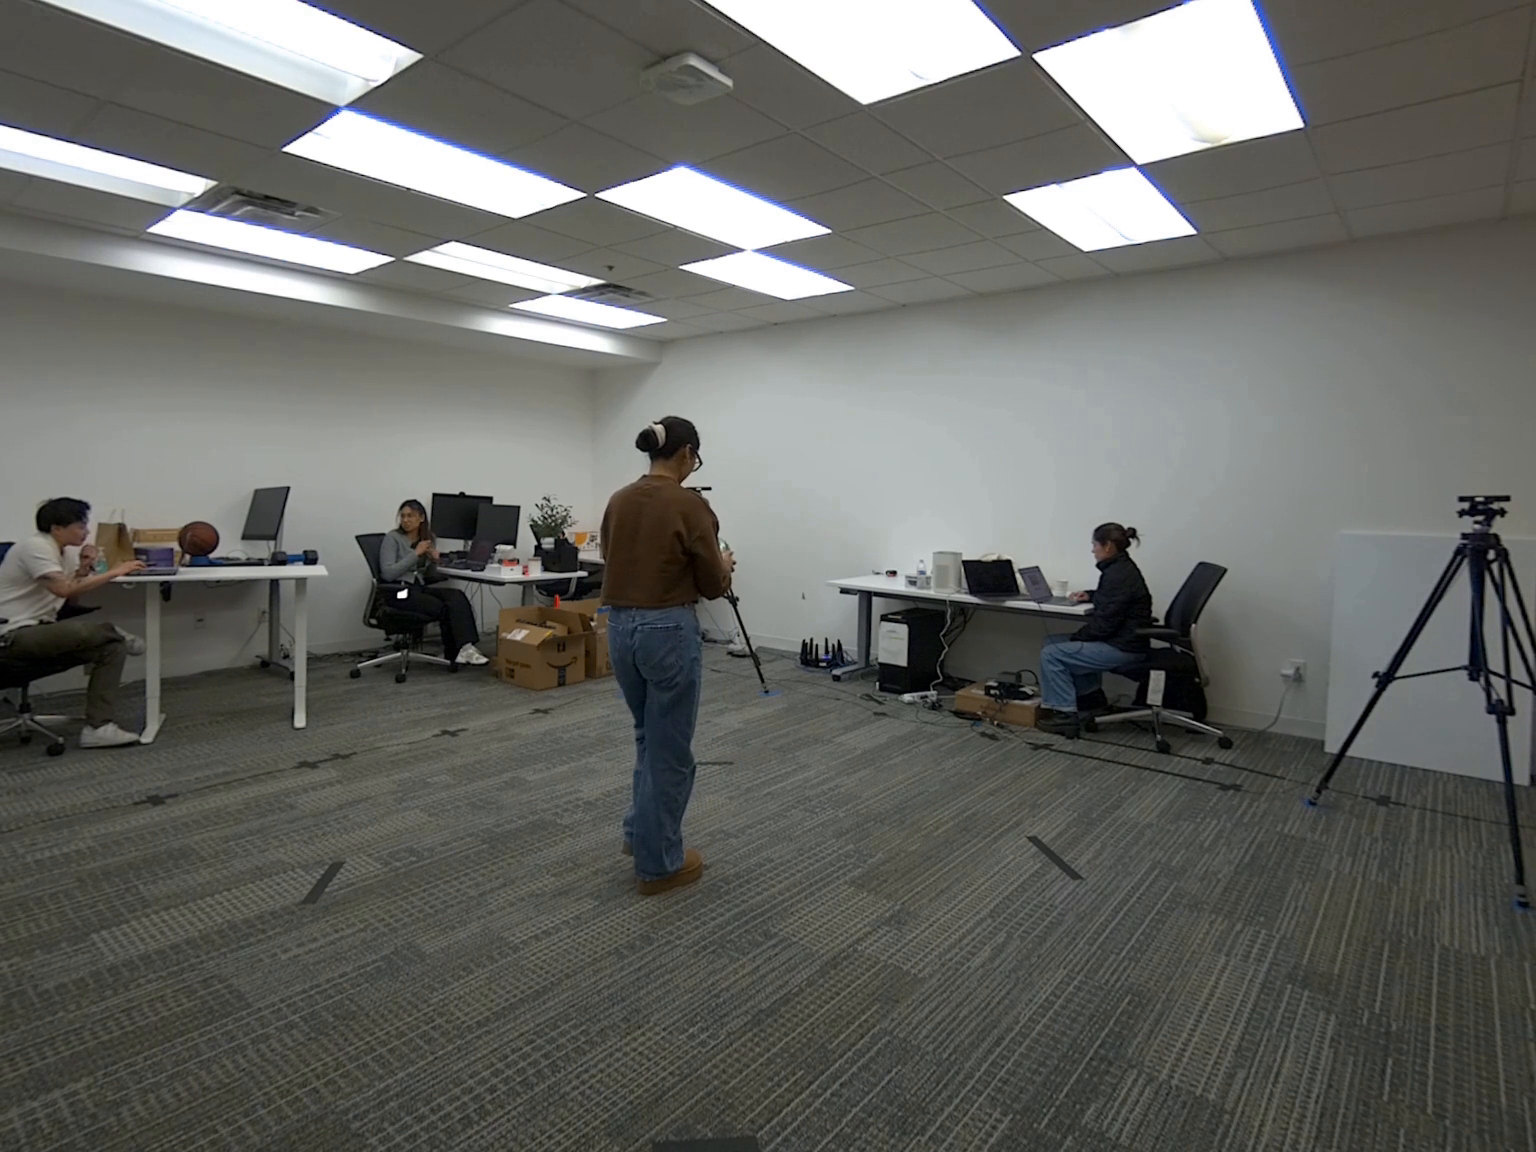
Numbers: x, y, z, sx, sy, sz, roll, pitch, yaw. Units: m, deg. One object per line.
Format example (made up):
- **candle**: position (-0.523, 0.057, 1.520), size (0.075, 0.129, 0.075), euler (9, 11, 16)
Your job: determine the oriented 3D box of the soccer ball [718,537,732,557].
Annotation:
- **soccer ball**: position (-0.239, -0.070, 3.271), size (0.187, 0.187, 0.188), euler (1, 4, -2)
